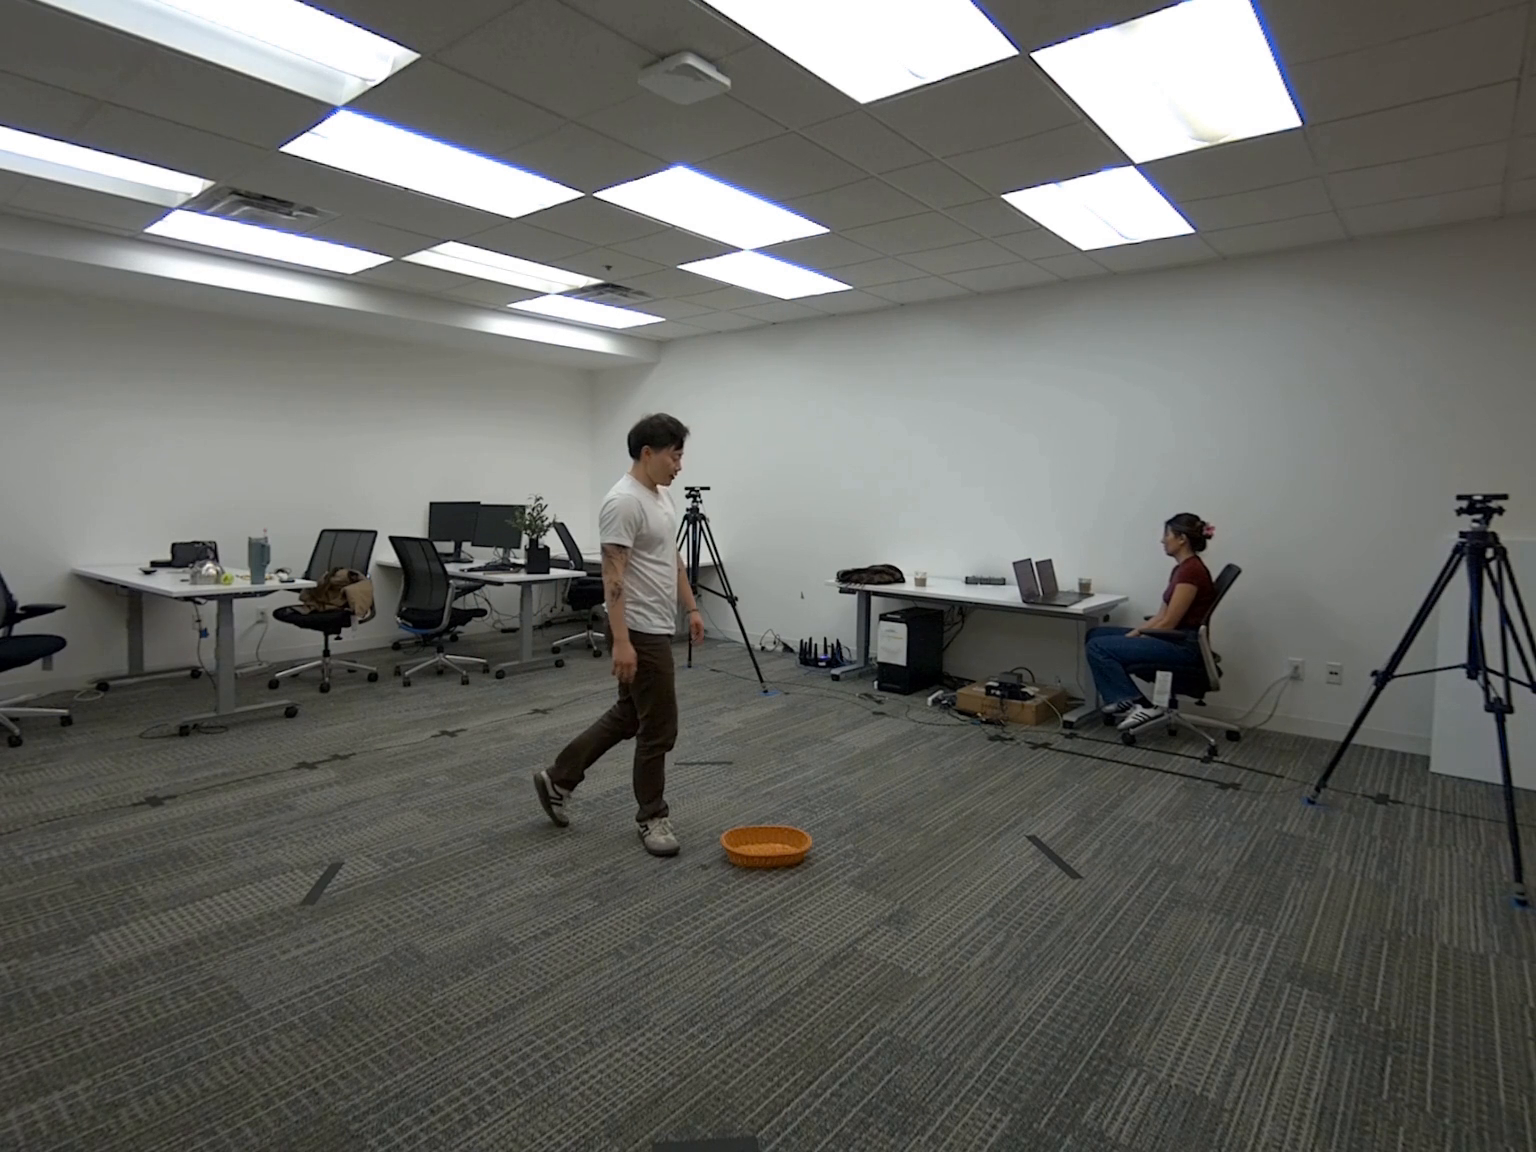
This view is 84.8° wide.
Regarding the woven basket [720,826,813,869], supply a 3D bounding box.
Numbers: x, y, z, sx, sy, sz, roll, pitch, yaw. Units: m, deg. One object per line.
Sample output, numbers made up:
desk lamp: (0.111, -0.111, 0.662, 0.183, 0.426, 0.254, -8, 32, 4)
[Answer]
woven basket: (-0.019, 1.021, 3.208, 0.347, 0.073, 0.256, 0, 7, -9)
